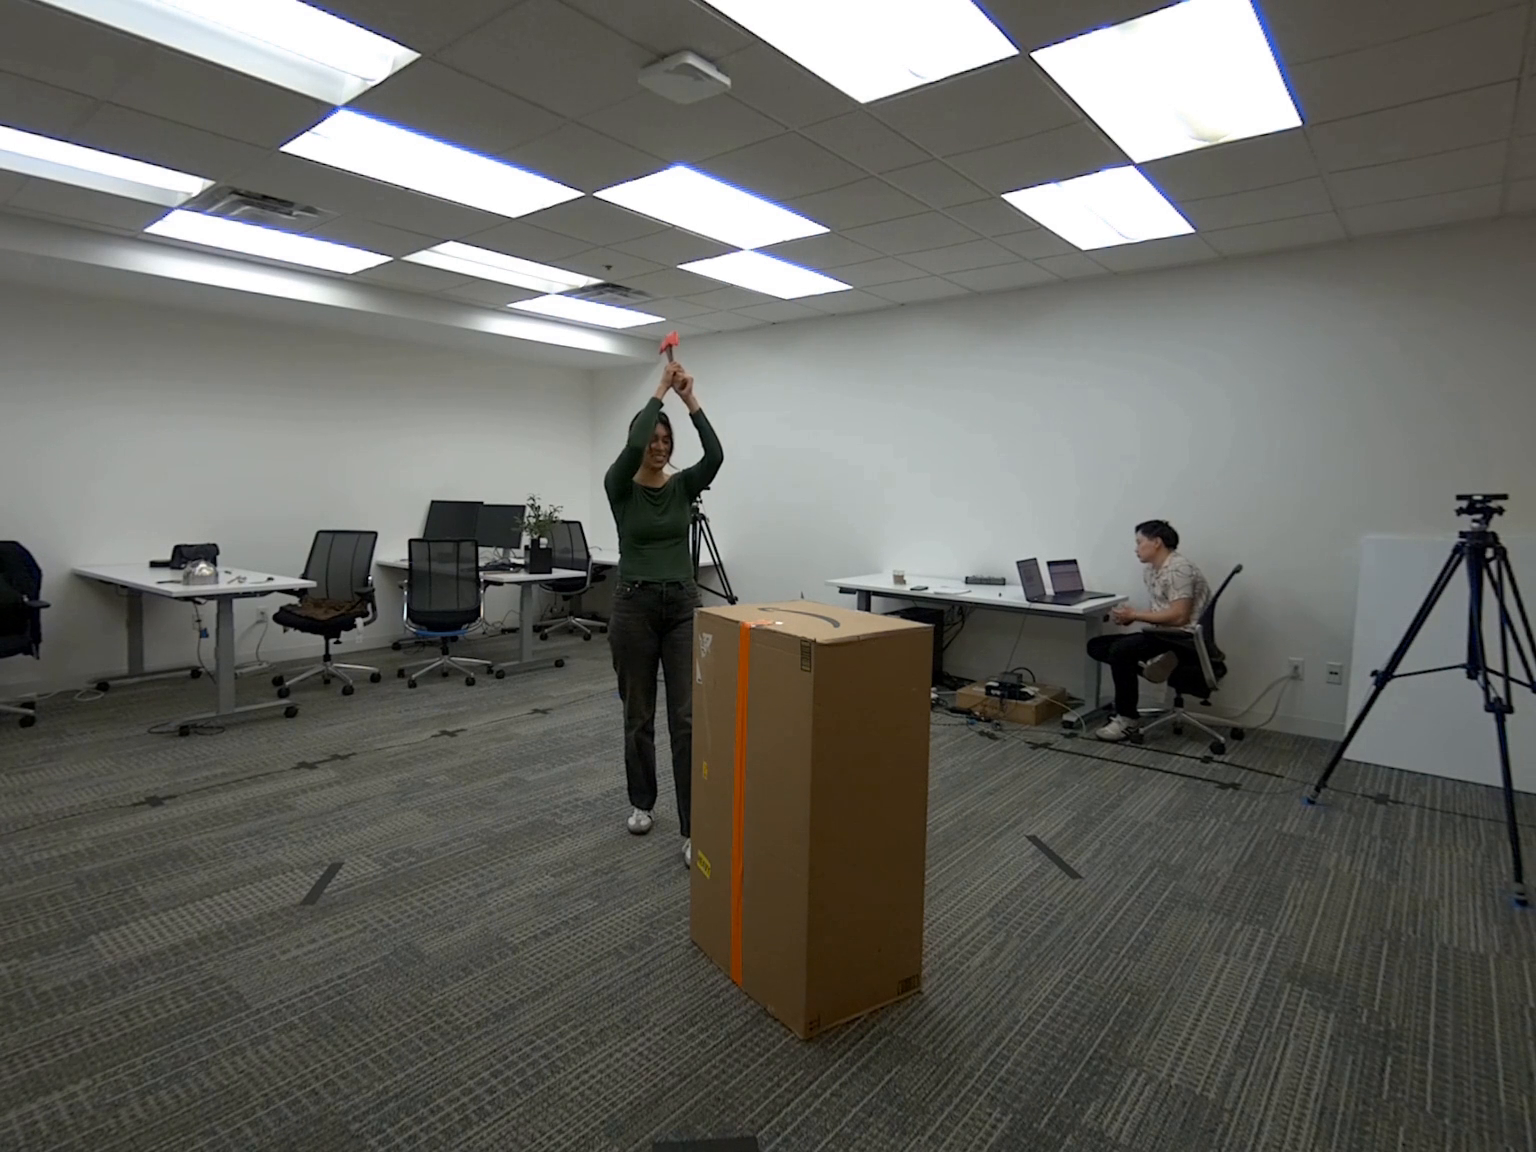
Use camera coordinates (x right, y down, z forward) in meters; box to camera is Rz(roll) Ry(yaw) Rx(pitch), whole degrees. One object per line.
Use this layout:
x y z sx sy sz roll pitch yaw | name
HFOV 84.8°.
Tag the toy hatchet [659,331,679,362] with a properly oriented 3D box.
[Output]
-0.353 -0.830 3.224 0.028 0.130 0.281 4 40 -38 | toy hatchet
